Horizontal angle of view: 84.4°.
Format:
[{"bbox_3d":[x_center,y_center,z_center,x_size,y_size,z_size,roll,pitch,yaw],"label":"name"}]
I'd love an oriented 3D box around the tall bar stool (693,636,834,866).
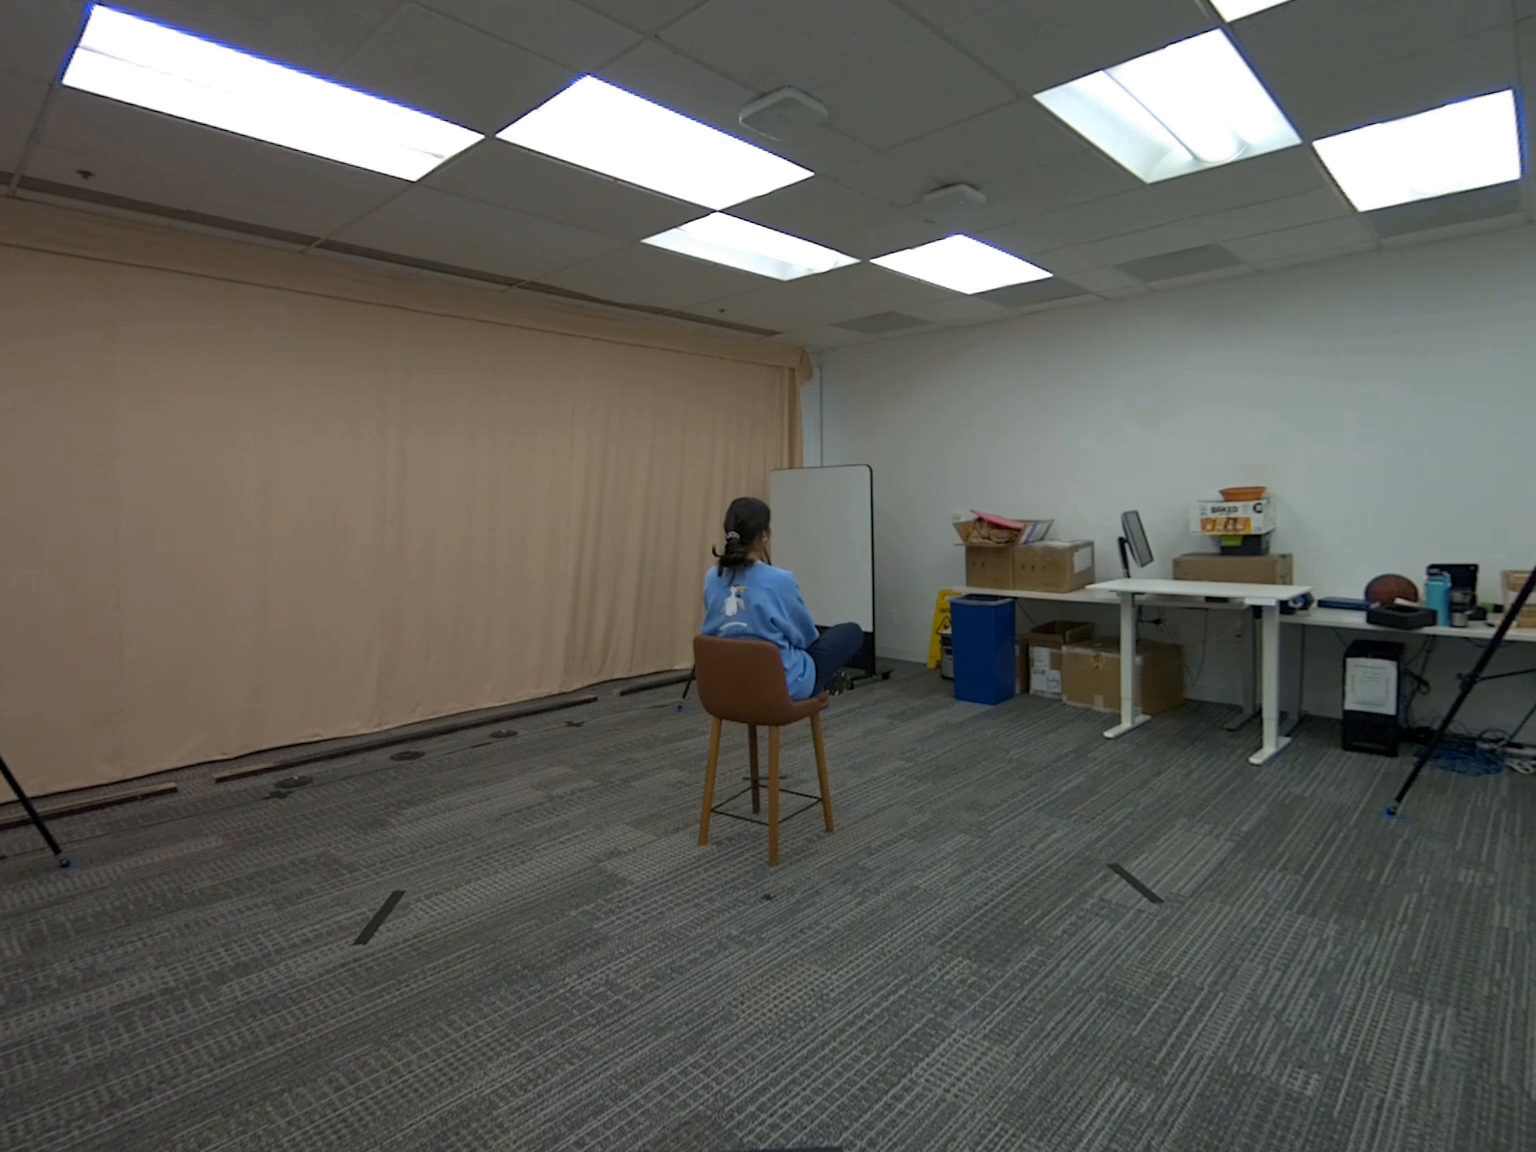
[{"bbox_3d":[-0.021,0.661,3.498,0.471,0.887,0.455,1,5,35],"label":"tall bar stool"}]
